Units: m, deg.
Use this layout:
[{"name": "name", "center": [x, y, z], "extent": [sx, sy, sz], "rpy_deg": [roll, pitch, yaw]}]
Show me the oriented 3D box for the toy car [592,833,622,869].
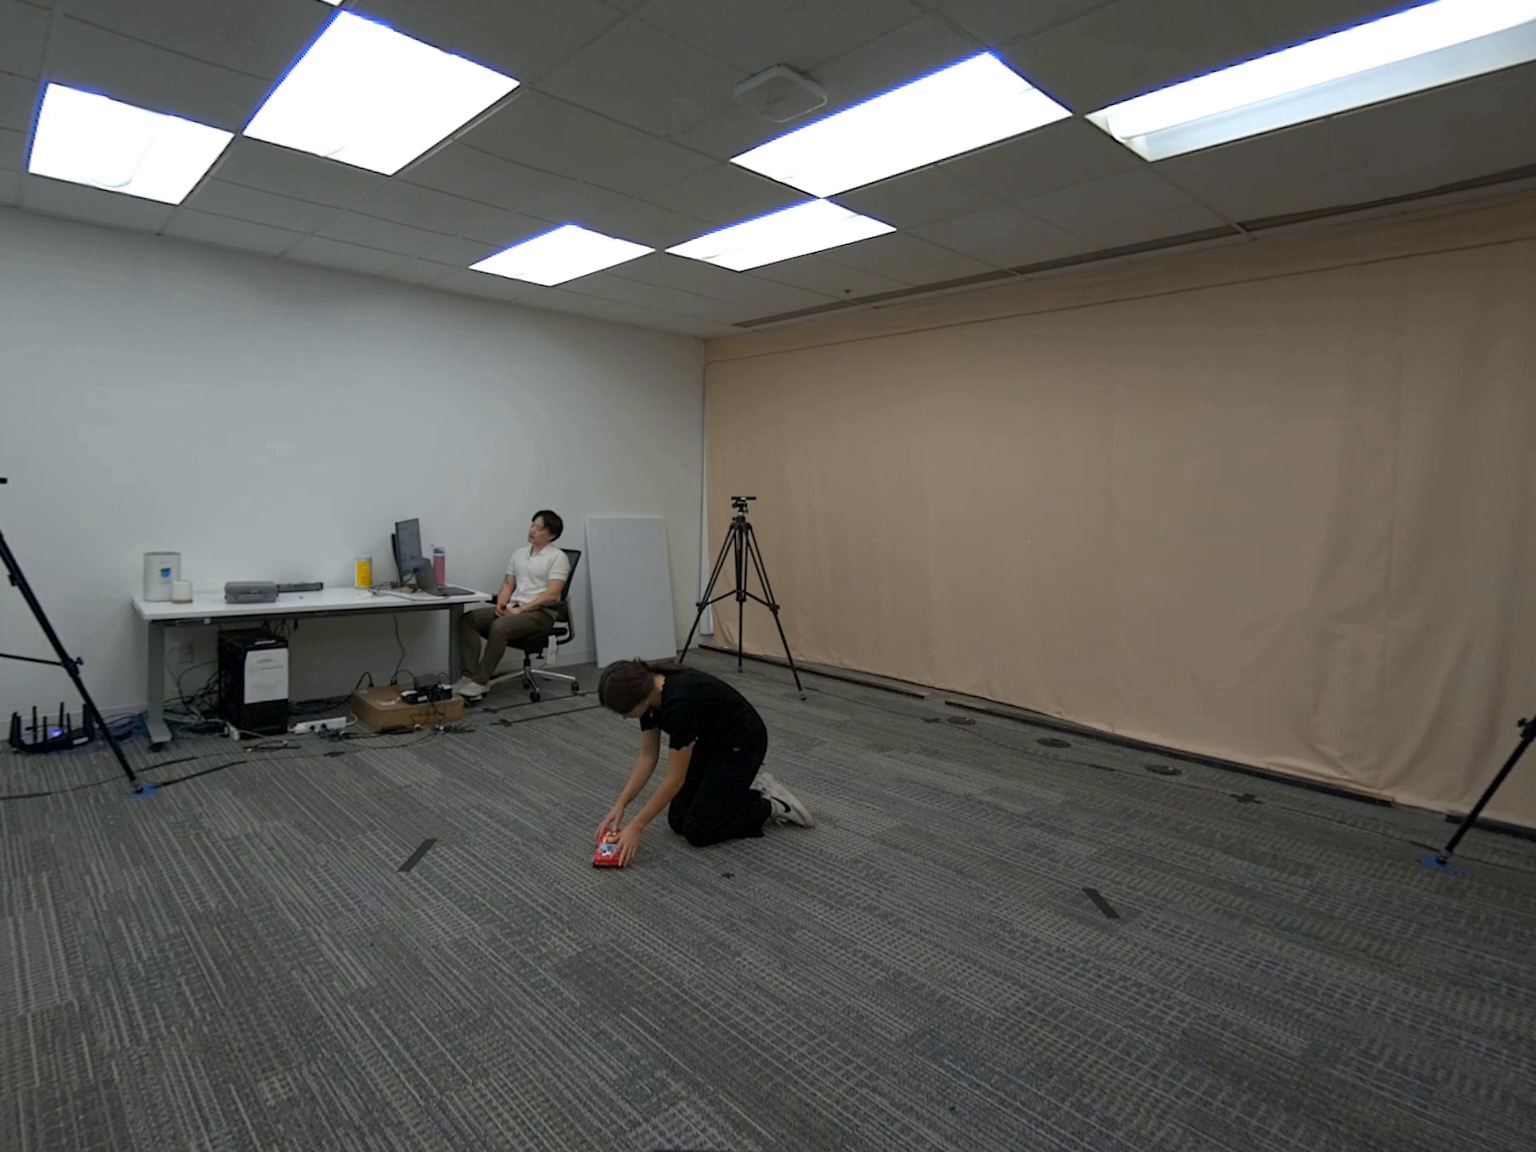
[{"name": "toy car", "center": [-0.614, 1.053, 3.245], "extent": [0.130, 0.082, 0.258], "rpy_deg": [0, 16, -5]}]
